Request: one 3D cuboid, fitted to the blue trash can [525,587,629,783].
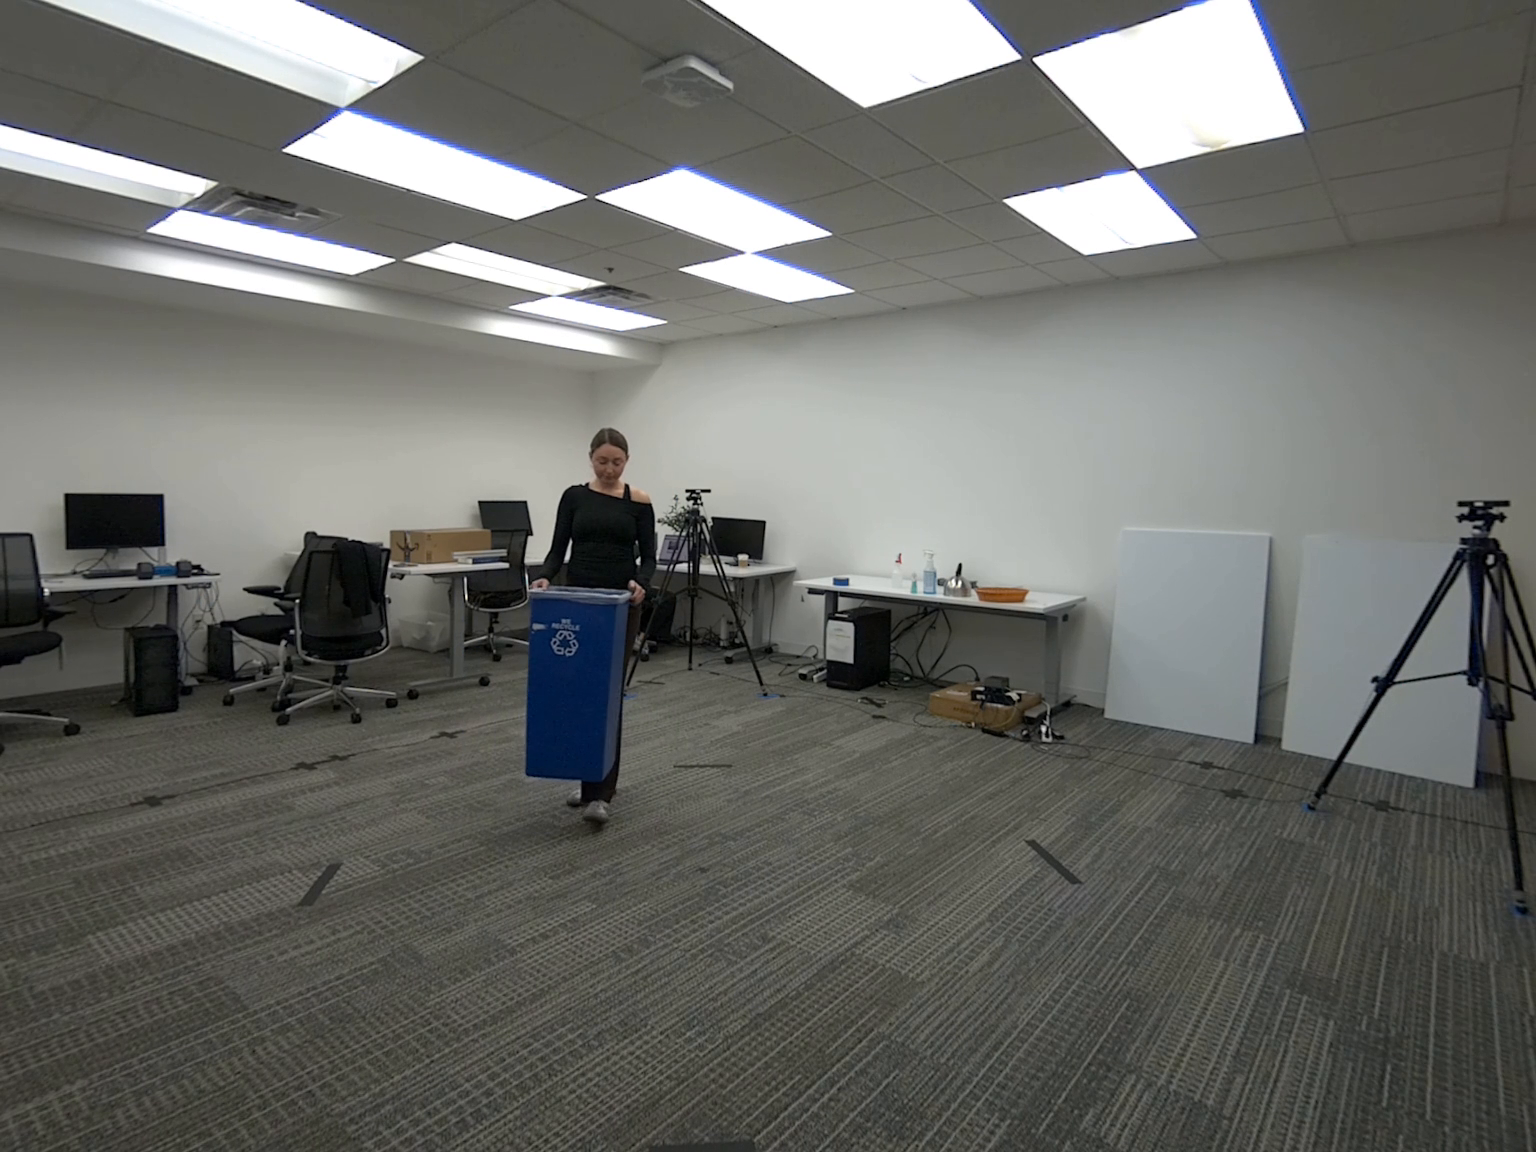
[{"bbox_3d":[-0.782,0.419,3.406,0.374,0.714,0.378,3,0,0],"label":"blue trash can"}]
